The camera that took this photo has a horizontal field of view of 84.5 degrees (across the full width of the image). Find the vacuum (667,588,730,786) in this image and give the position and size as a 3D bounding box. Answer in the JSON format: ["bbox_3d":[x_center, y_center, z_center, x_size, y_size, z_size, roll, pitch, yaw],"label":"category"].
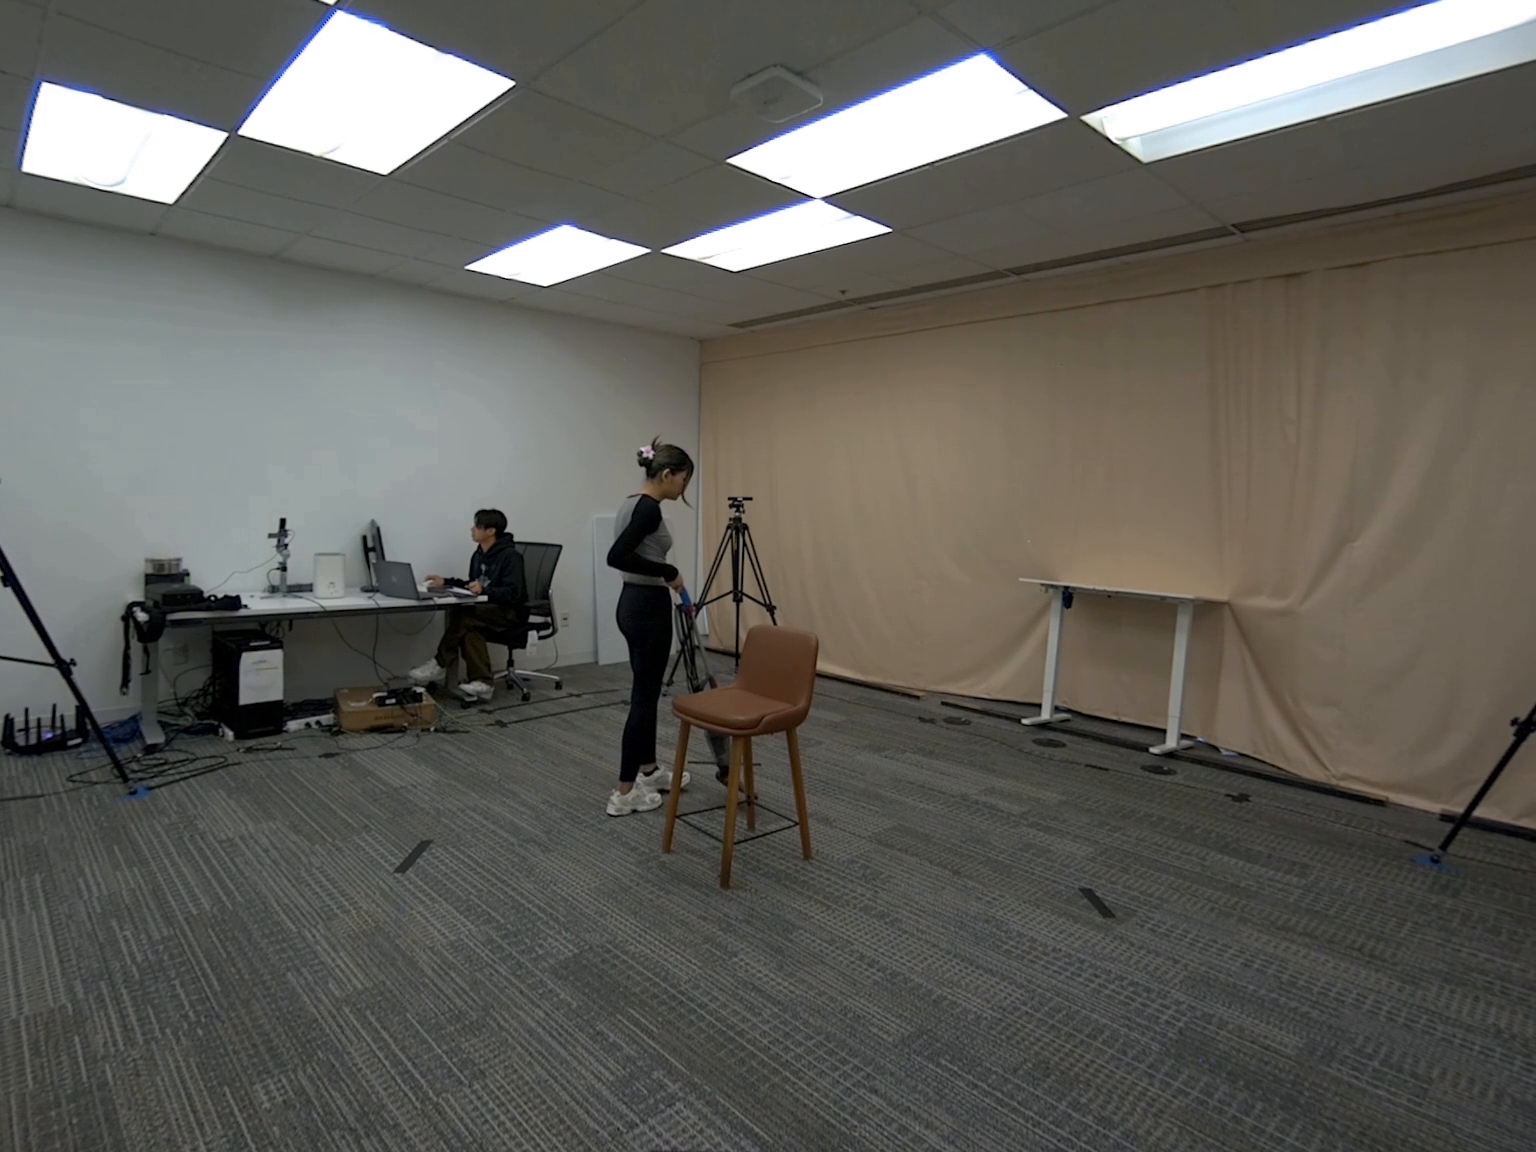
[{"bbox_3d":[-0.303,0.455,3.728,0.142,1.036,0.258,-22,15,-26],"label":"vacuum"}]
